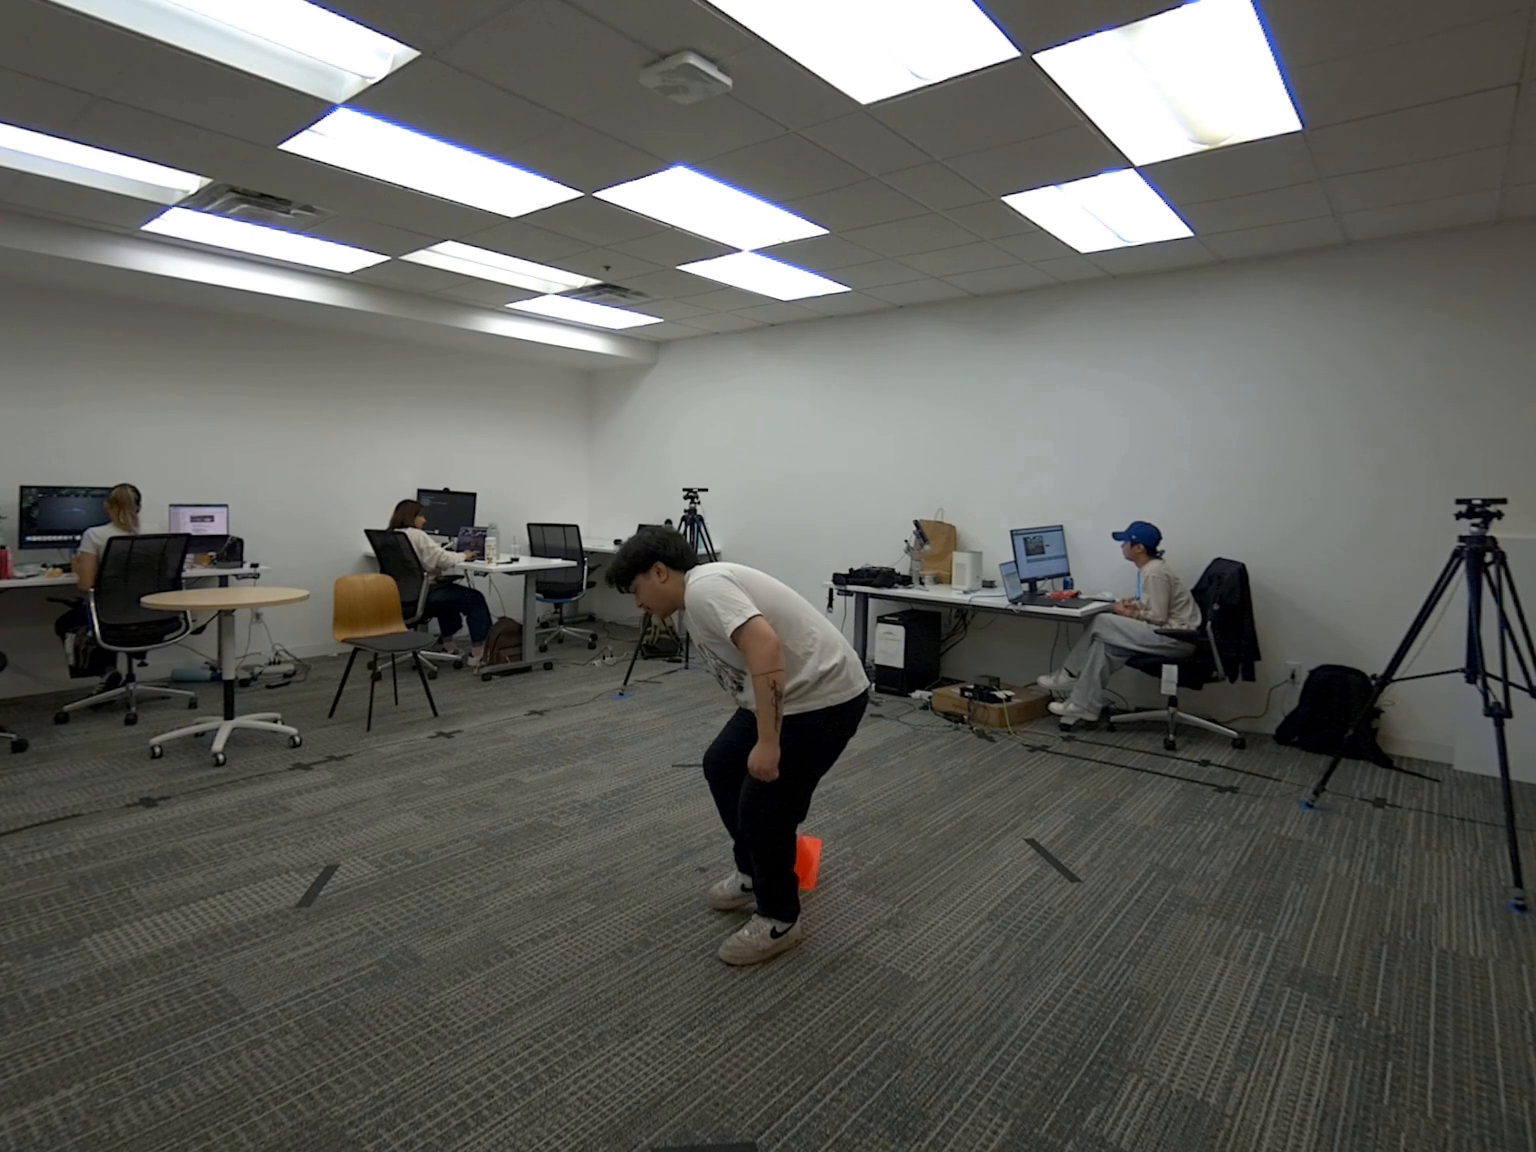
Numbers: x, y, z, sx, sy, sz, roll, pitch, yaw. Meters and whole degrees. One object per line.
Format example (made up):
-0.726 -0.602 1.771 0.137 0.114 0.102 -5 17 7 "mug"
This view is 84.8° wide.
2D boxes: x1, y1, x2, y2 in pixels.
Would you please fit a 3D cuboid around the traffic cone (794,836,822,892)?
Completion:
0.041 0.879 2.941 0.207 0.371 0.208 -4 40 11 "traffic cone"
